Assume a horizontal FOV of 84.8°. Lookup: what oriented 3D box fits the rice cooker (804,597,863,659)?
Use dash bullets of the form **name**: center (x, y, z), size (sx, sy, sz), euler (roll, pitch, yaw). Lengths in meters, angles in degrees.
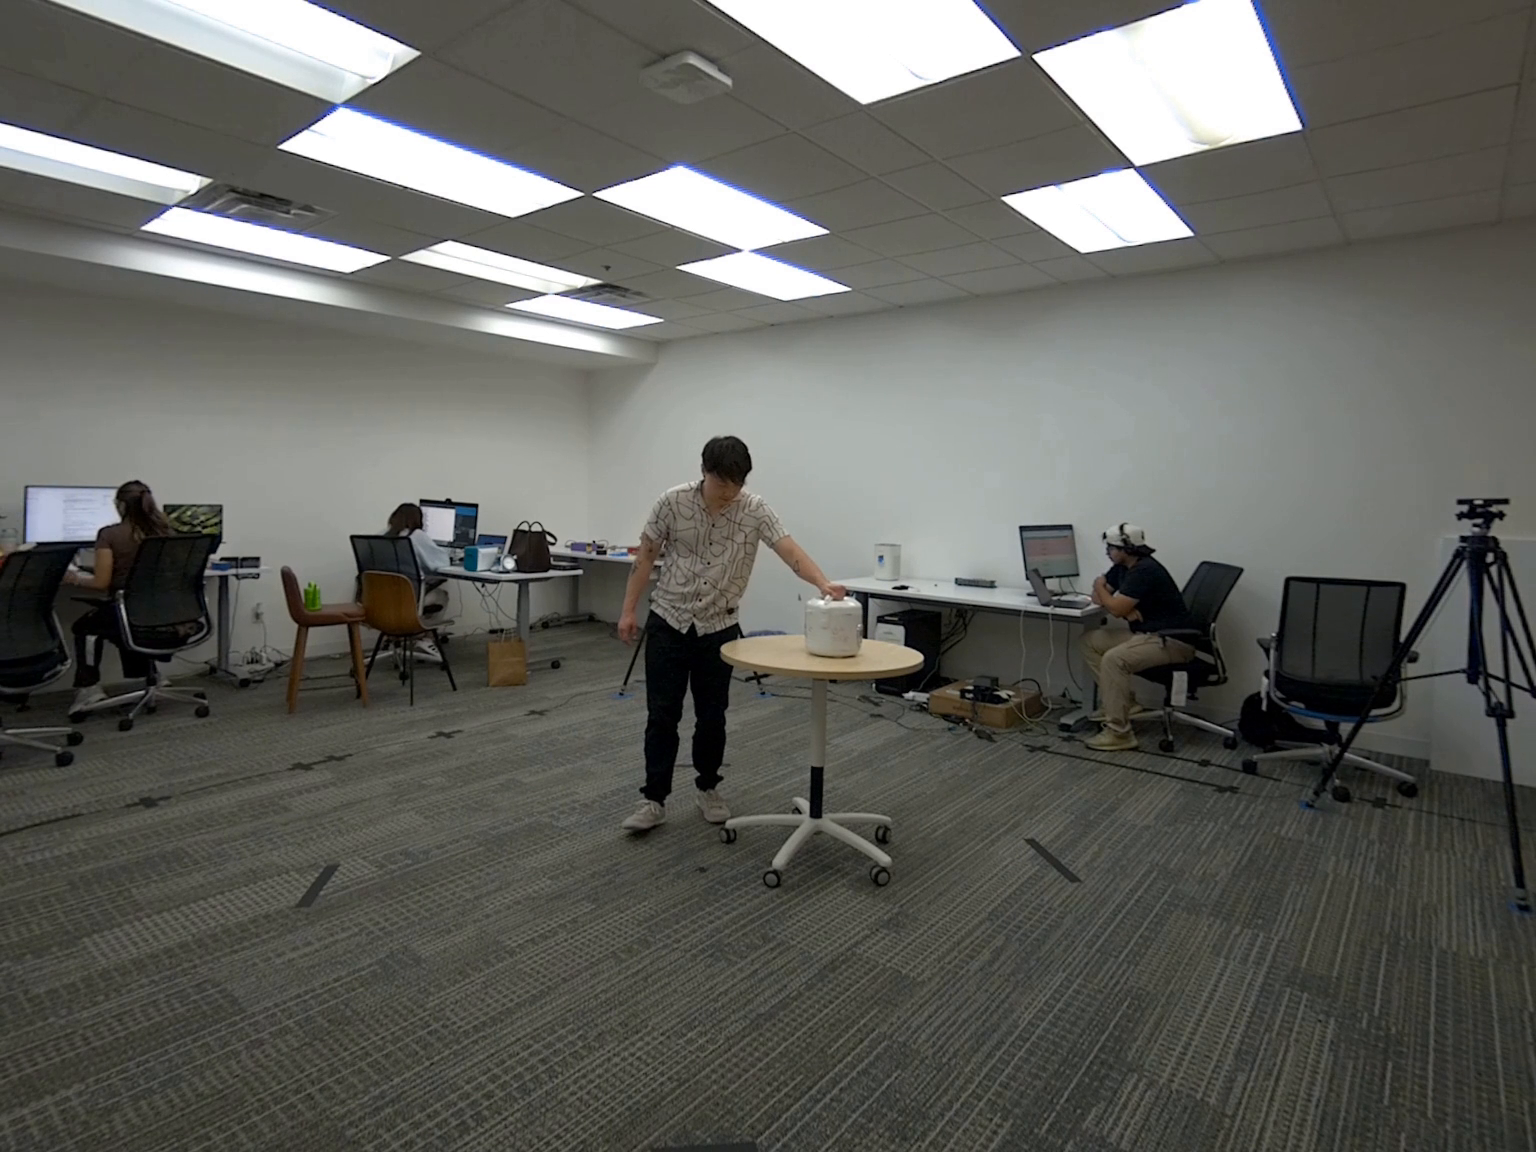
- **rice cooker**: center (0.240, 0.173, 3.190), size (0.223, 0.232, 0.216), euler (2, 4, 24)
